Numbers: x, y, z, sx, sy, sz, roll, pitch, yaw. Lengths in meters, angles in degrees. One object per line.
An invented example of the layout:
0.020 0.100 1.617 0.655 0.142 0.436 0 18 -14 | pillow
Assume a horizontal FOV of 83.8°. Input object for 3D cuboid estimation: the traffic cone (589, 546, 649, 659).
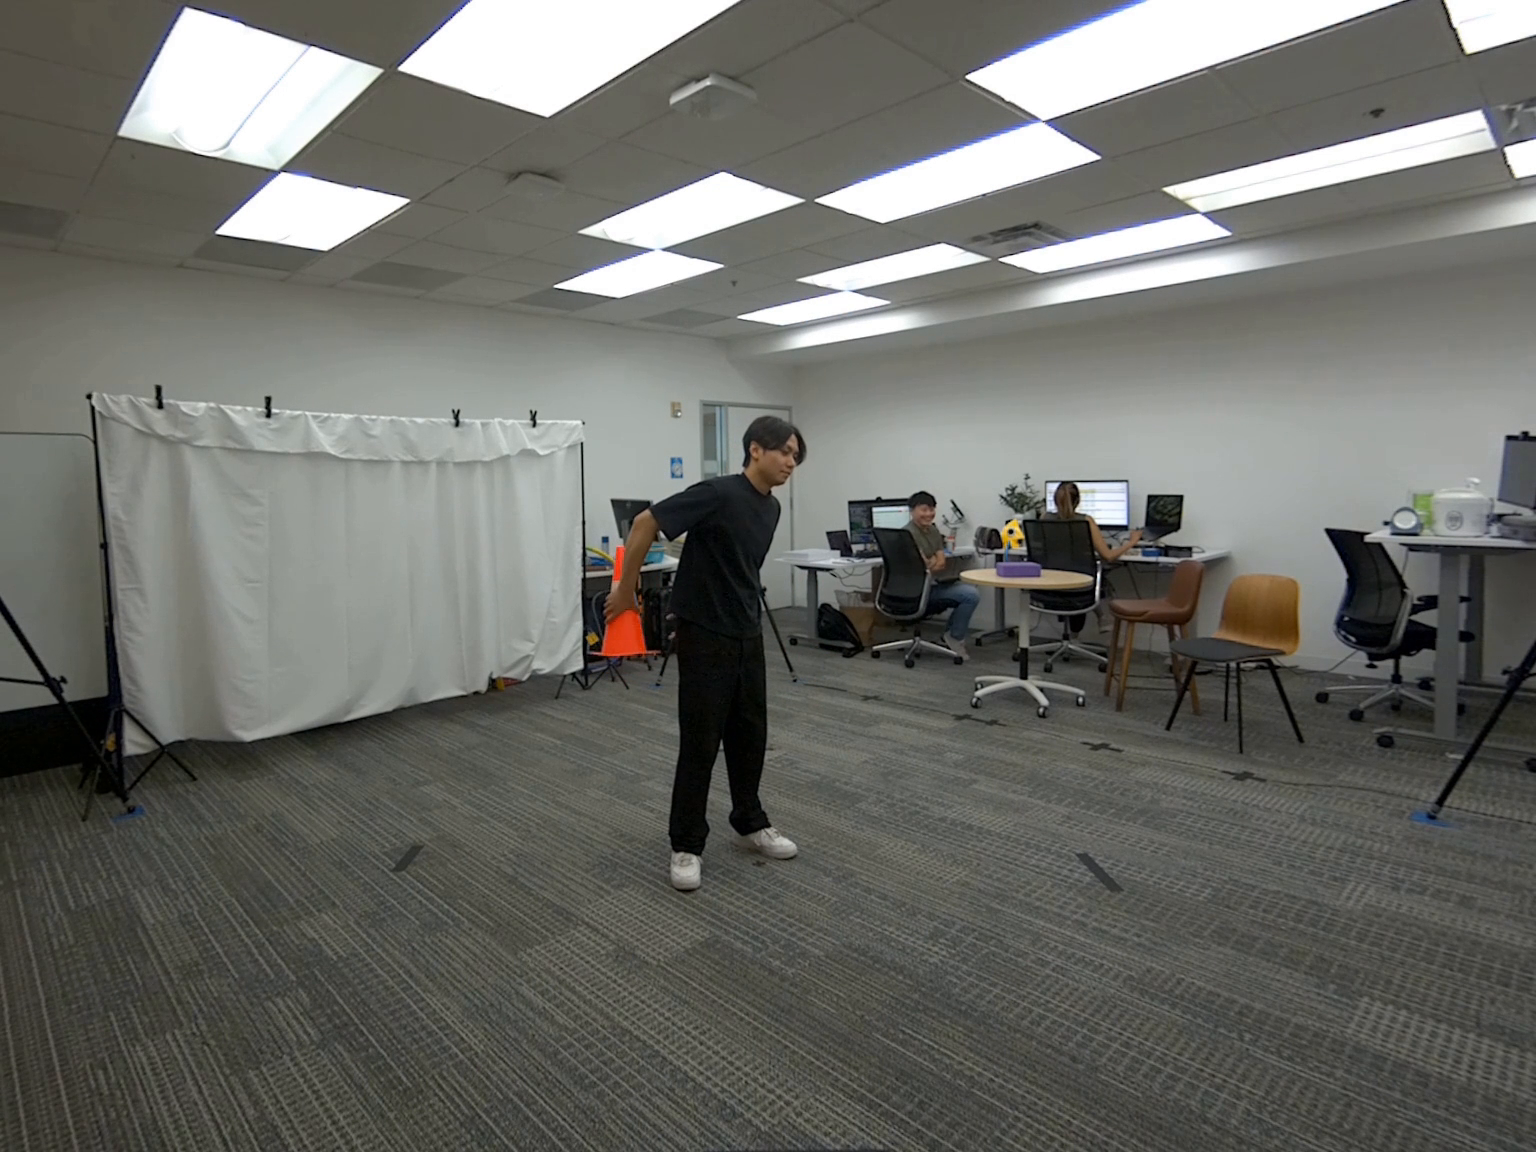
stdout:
-0.518 0.087 3.042 0.208 0.384 0.199 -5 -2 37 | traffic cone
